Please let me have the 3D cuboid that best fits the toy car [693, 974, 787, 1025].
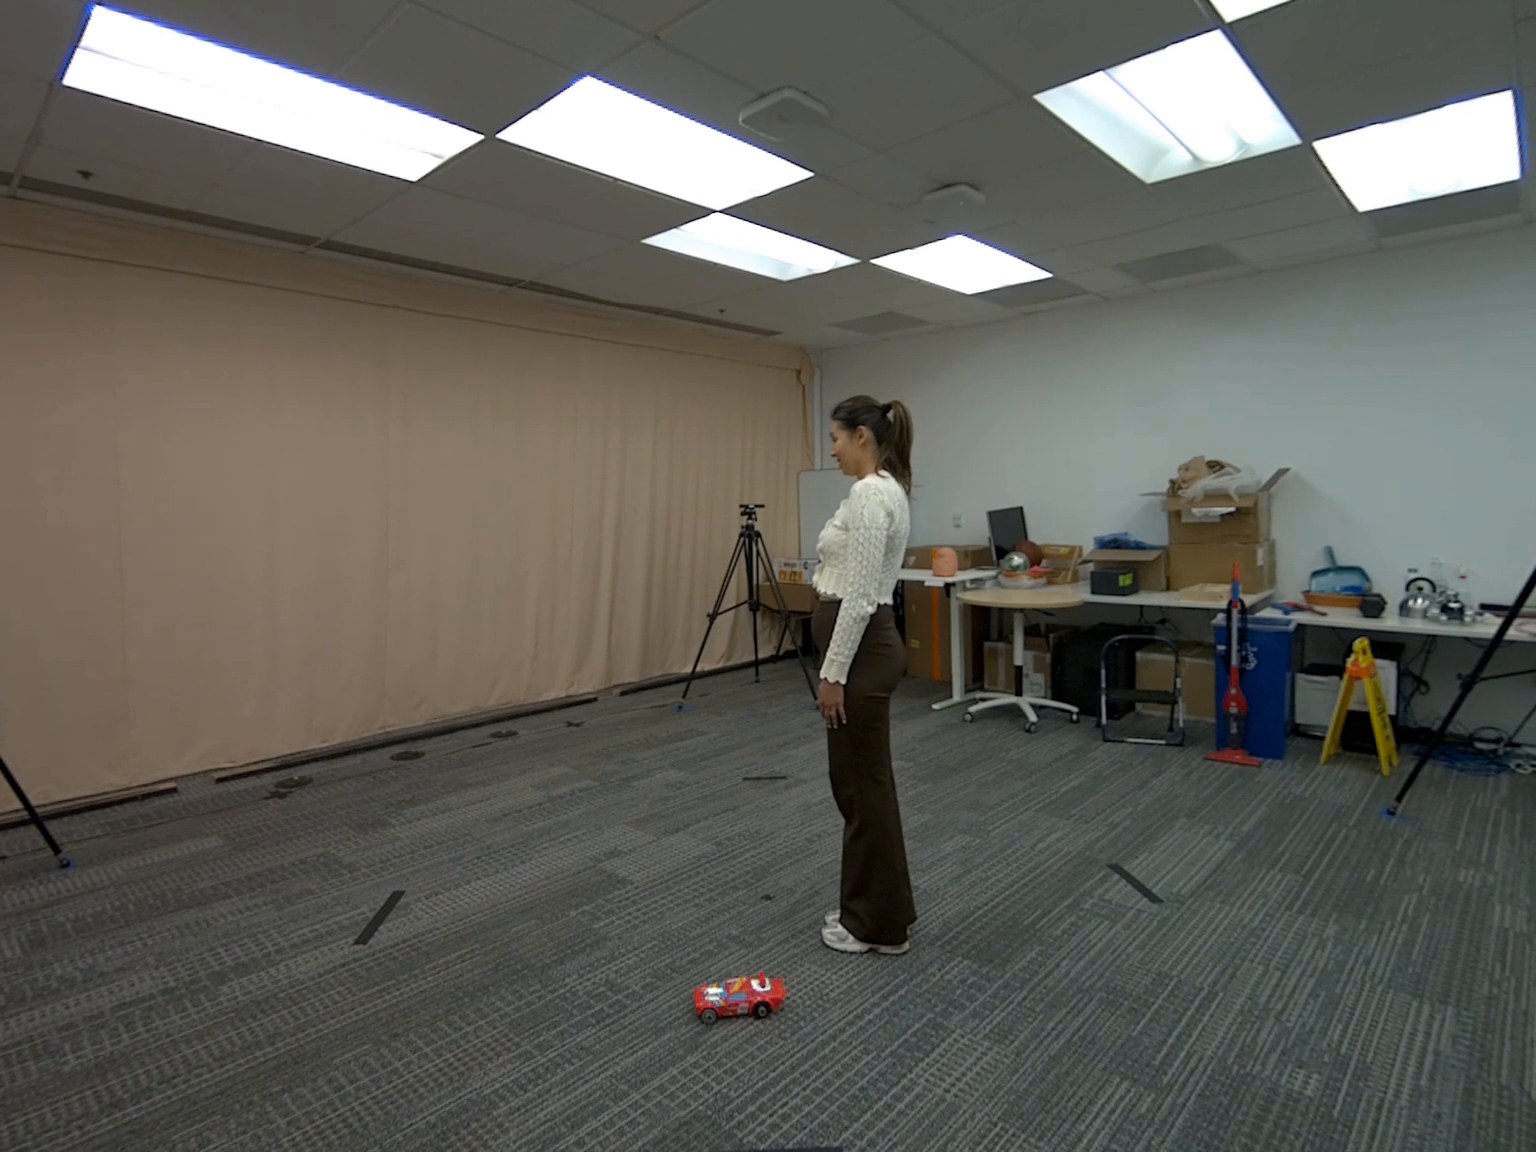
[{"bbox_3d":[-0.071,1.168,2.320,0.253,0.083,0.131,-13,6,-6],"label":"toy car"}]
